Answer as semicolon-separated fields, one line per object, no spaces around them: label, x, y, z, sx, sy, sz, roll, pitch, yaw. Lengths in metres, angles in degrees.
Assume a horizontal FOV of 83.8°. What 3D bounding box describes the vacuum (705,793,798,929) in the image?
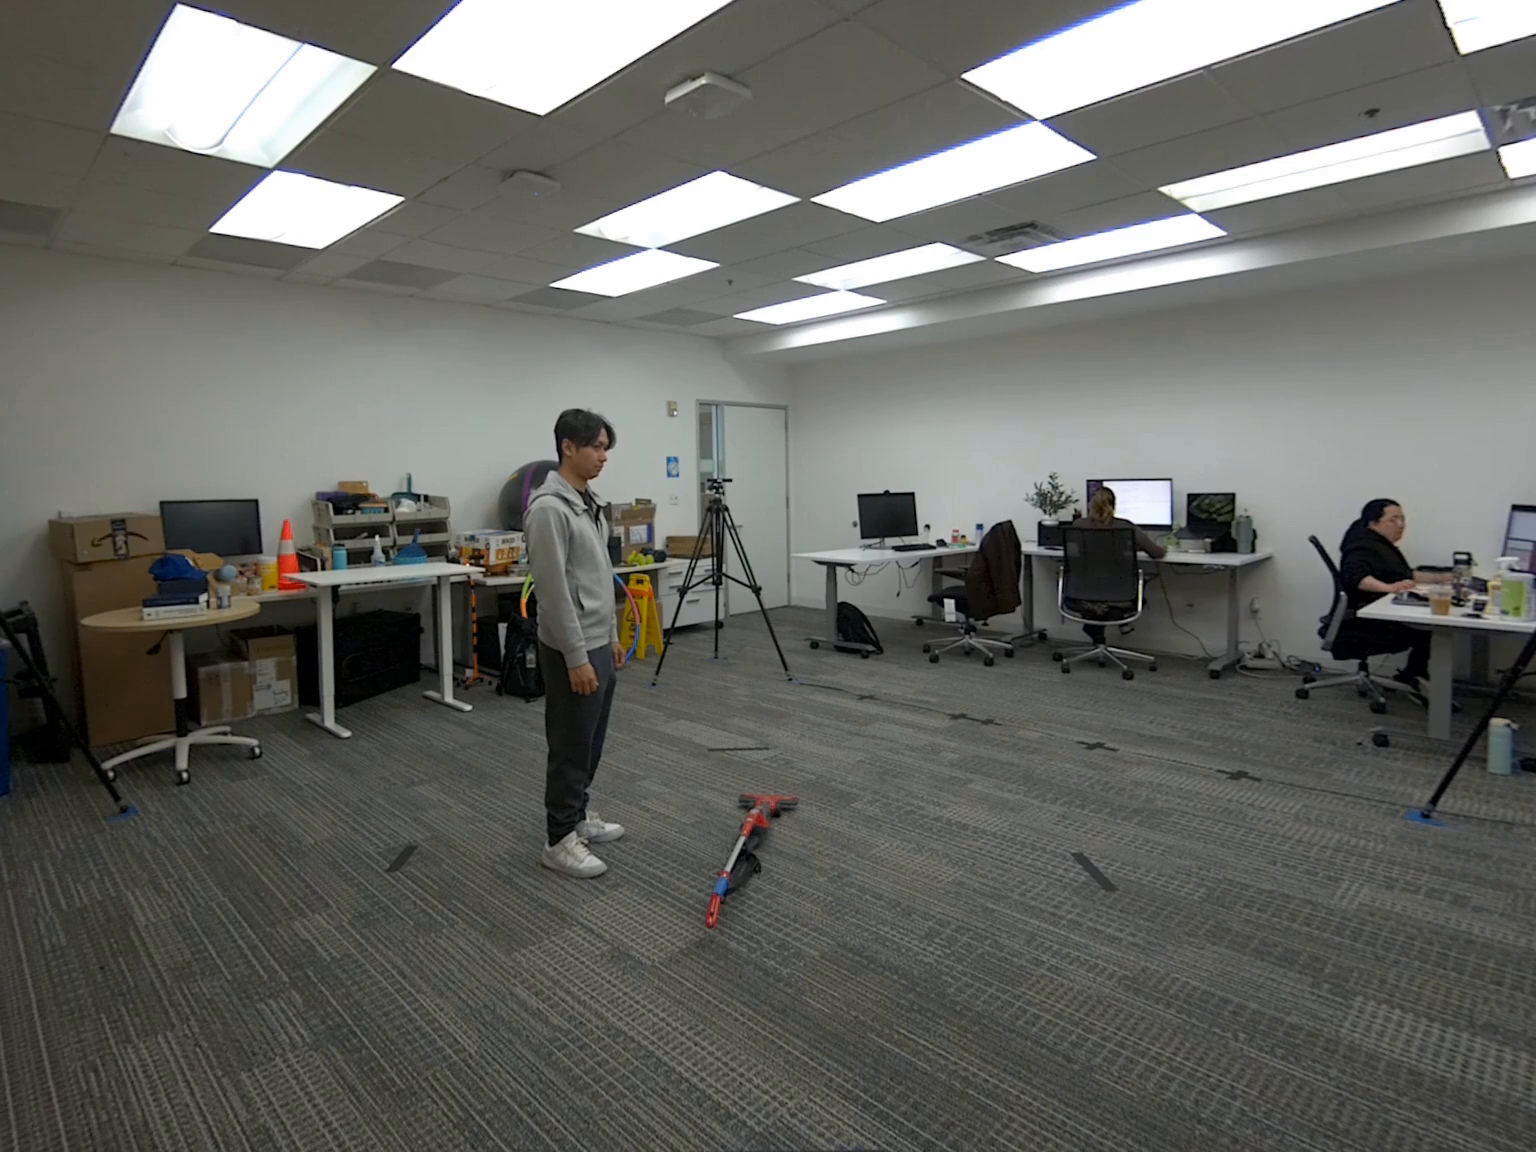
vacuum;-0.090;0.997;3.059;0.255;0.143;1.041;7;5;8
